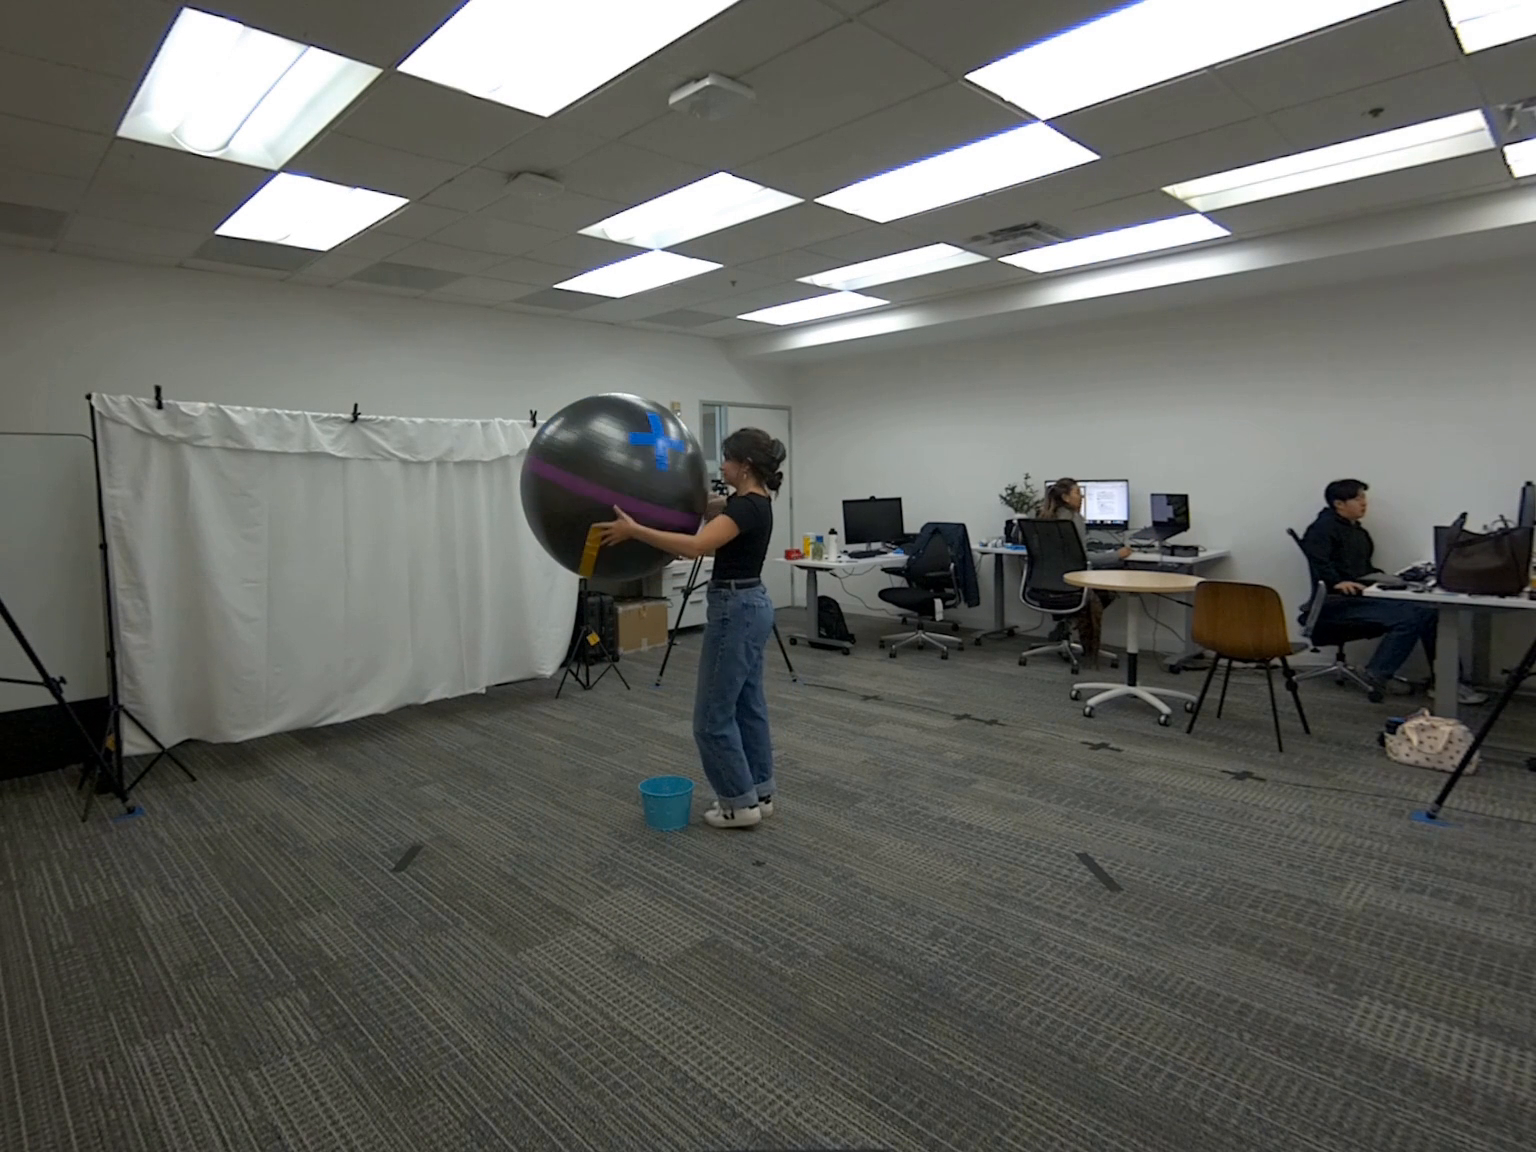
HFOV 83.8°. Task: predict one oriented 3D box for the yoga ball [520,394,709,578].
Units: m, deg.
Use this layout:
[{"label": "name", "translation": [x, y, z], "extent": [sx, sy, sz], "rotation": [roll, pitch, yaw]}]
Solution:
[{"label": "yoga ball", "translation": [-0.632, -0.357, 3.467], "extent": [0.757, 0.755, 0.762], "rotation": [-1, 5, -2]}]
